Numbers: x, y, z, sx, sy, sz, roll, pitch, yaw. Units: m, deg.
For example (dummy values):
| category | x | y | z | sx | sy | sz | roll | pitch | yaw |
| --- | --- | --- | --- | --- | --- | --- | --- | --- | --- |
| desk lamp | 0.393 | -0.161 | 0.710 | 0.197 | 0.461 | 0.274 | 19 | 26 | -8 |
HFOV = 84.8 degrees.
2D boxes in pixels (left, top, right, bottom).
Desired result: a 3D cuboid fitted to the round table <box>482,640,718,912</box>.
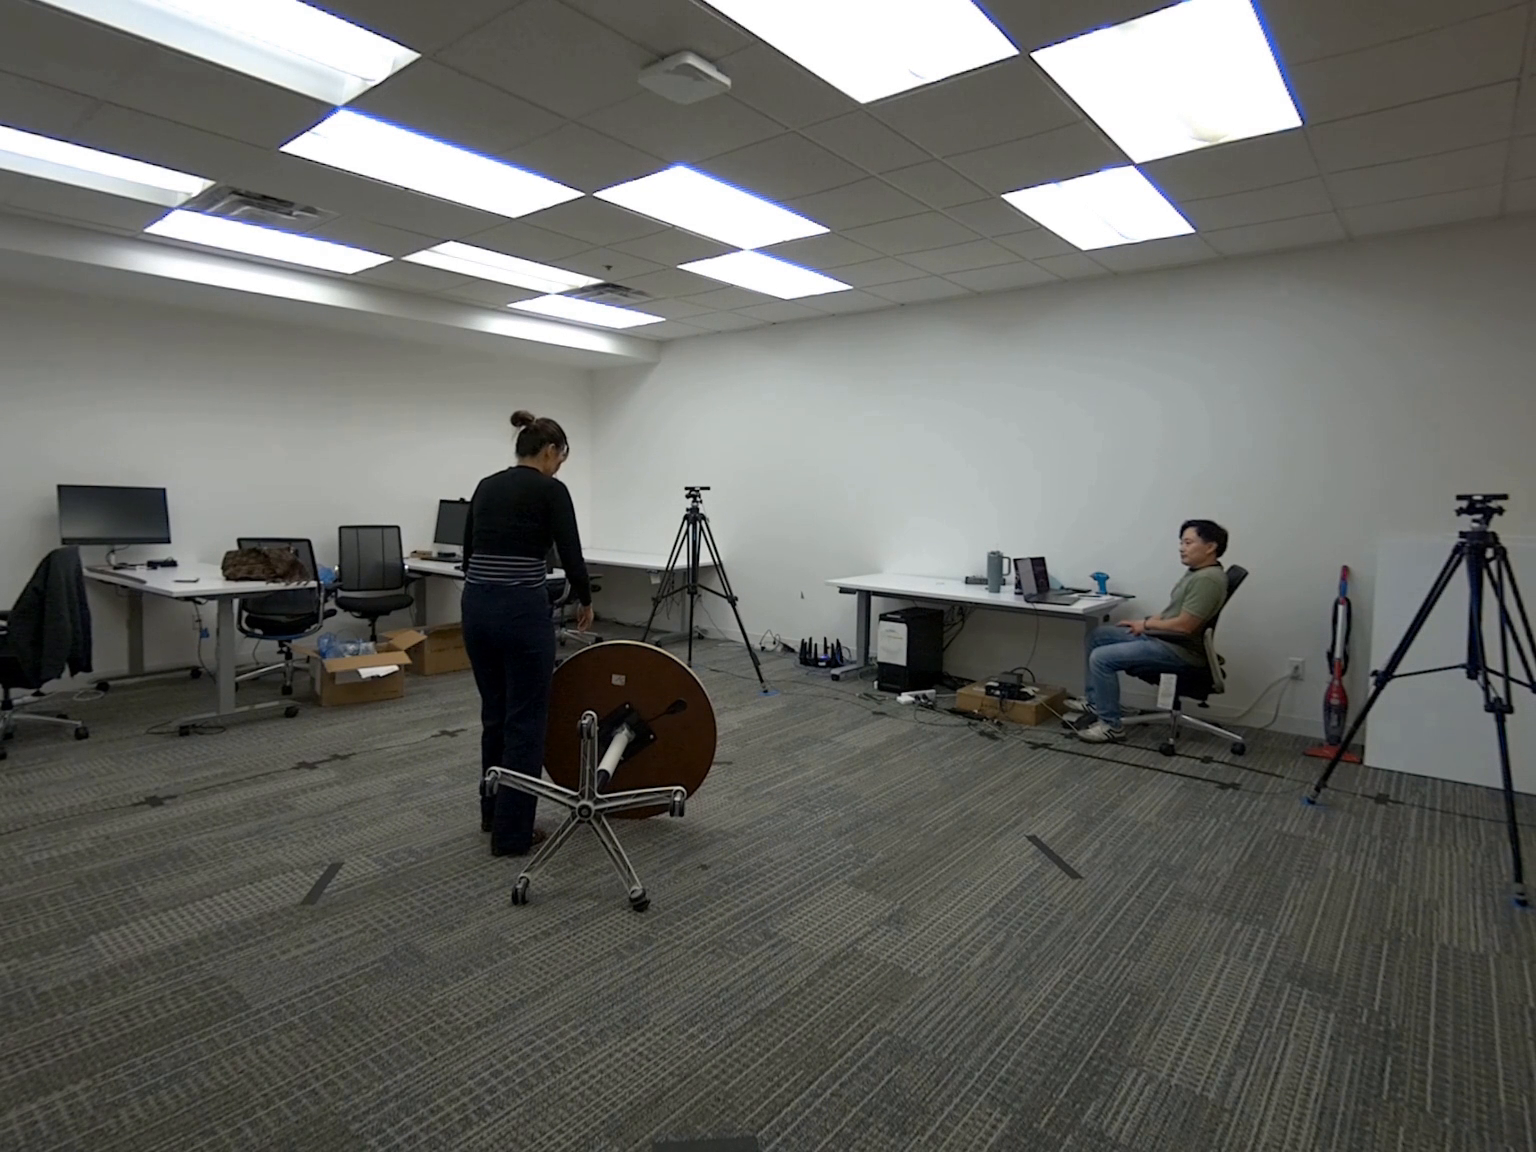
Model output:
| category | x | y | z | sx | sy | sz | roll | pitch | yaw |
| --- | --- | --- | --- | --- | --- | --- | --- | --- | --- |
| round table | -0.611 | 0.722 | 3.133 | 0.767 | 0.757 | 0.799 | 1 | 10 | 2 |
